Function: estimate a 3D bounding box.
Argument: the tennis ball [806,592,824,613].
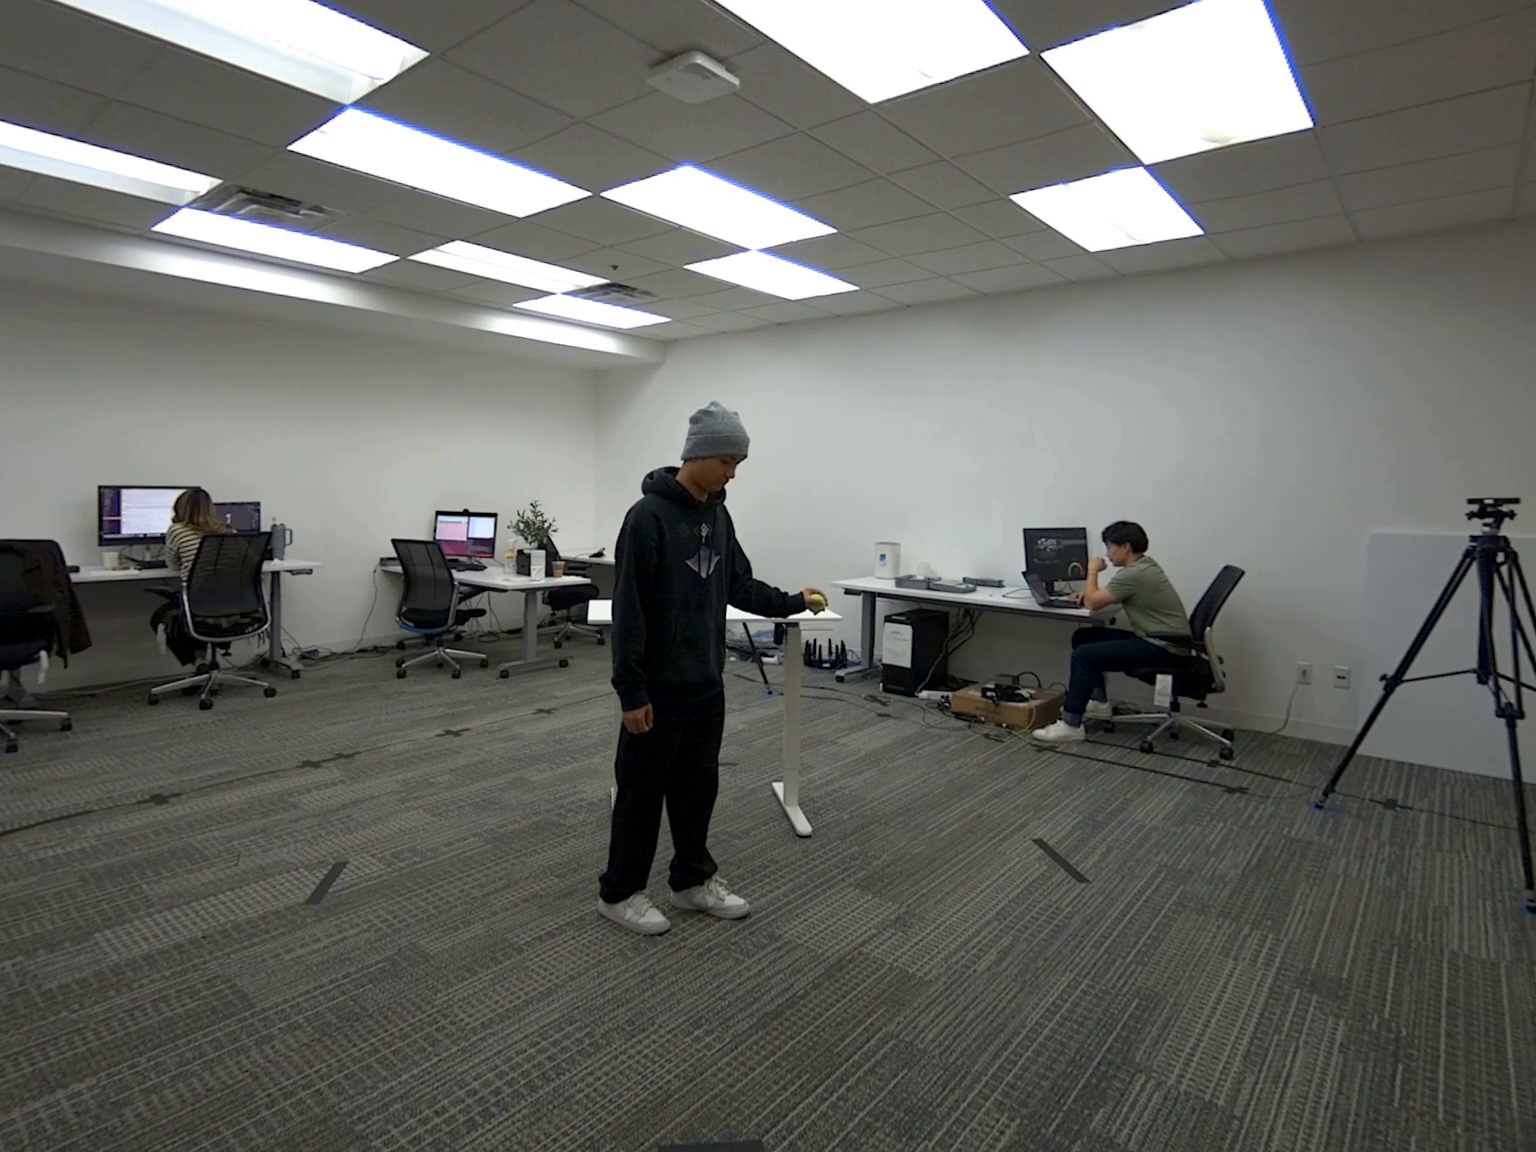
[{"bbox_3d":[0.131,0.067,2.993,0.066,0.066,0.067,1,4,-2],"label":"tennis ball"}]
